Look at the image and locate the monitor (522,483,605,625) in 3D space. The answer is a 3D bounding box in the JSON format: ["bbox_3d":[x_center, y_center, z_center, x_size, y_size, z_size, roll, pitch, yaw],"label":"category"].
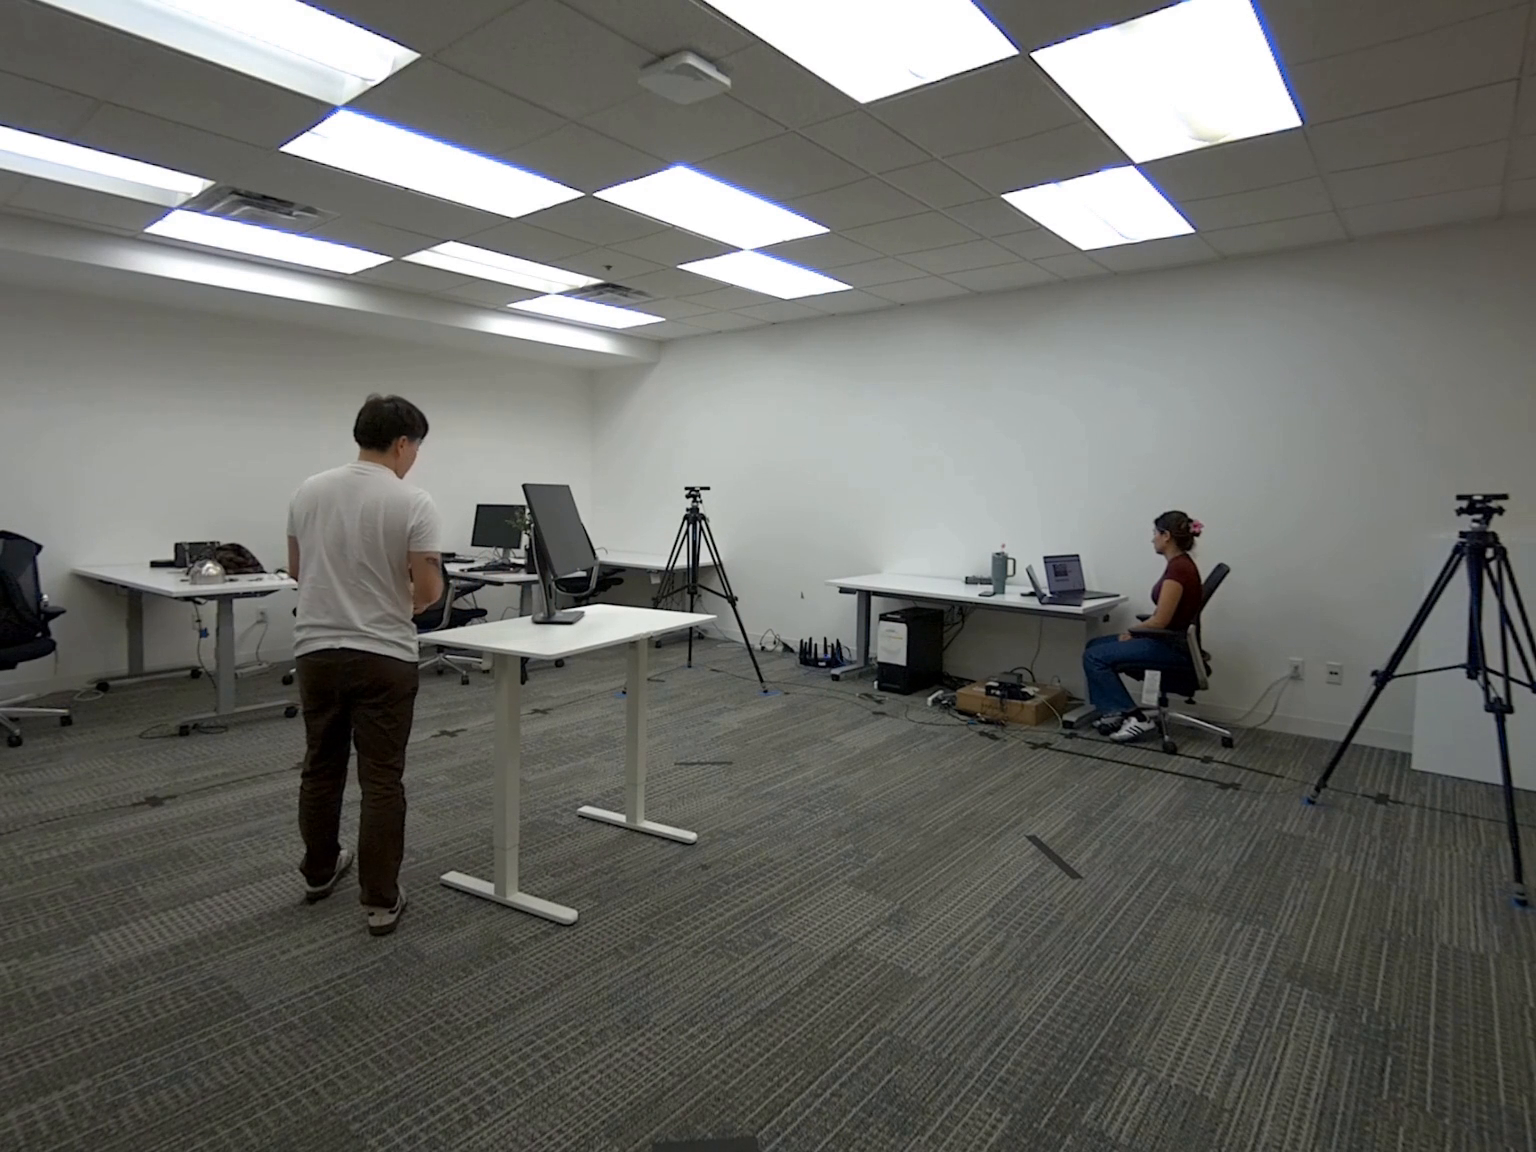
[{"bbox_3d":[-0.828,-0.091,3.244,0.188,0.521,0.539,-3,4,1],"label":"monitor"}]
